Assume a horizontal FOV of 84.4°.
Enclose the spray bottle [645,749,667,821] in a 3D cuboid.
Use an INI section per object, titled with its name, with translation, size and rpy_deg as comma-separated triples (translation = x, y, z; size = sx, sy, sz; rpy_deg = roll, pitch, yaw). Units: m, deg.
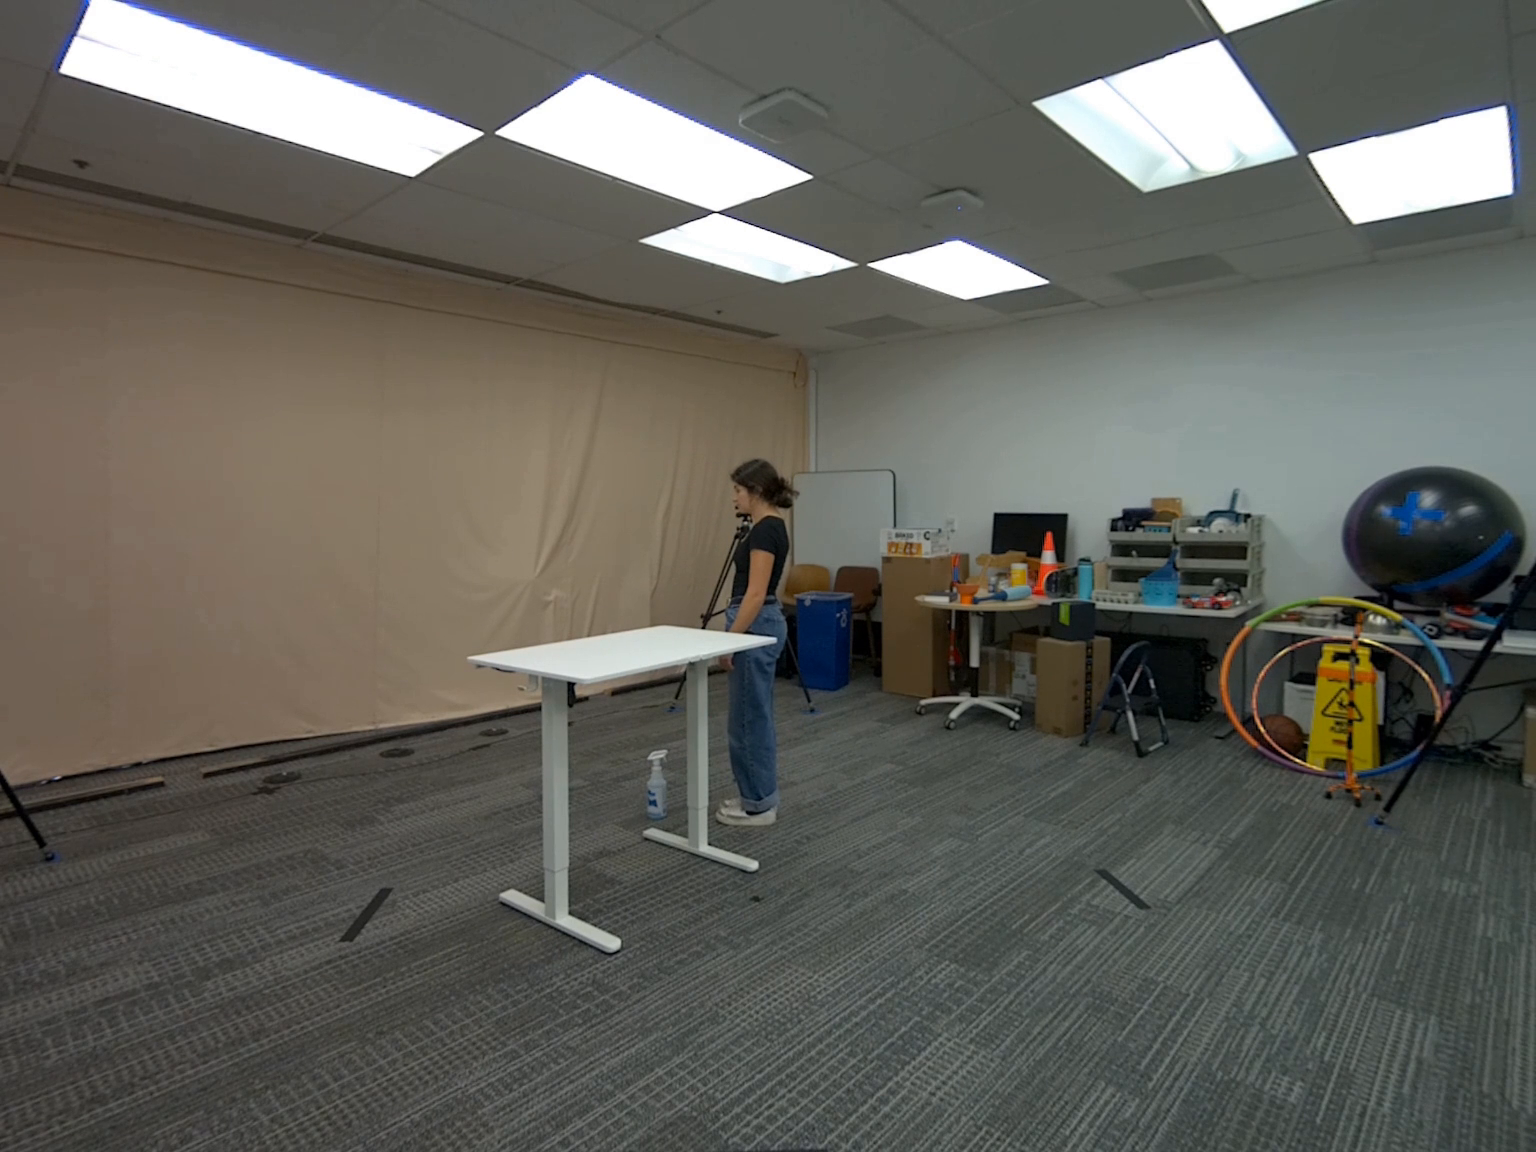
[spray bottle]
translation = -0.497, 0.941, 3.787
size = 0.090, 0.297, 0.087
rpy_deg = 2, 3, 3
